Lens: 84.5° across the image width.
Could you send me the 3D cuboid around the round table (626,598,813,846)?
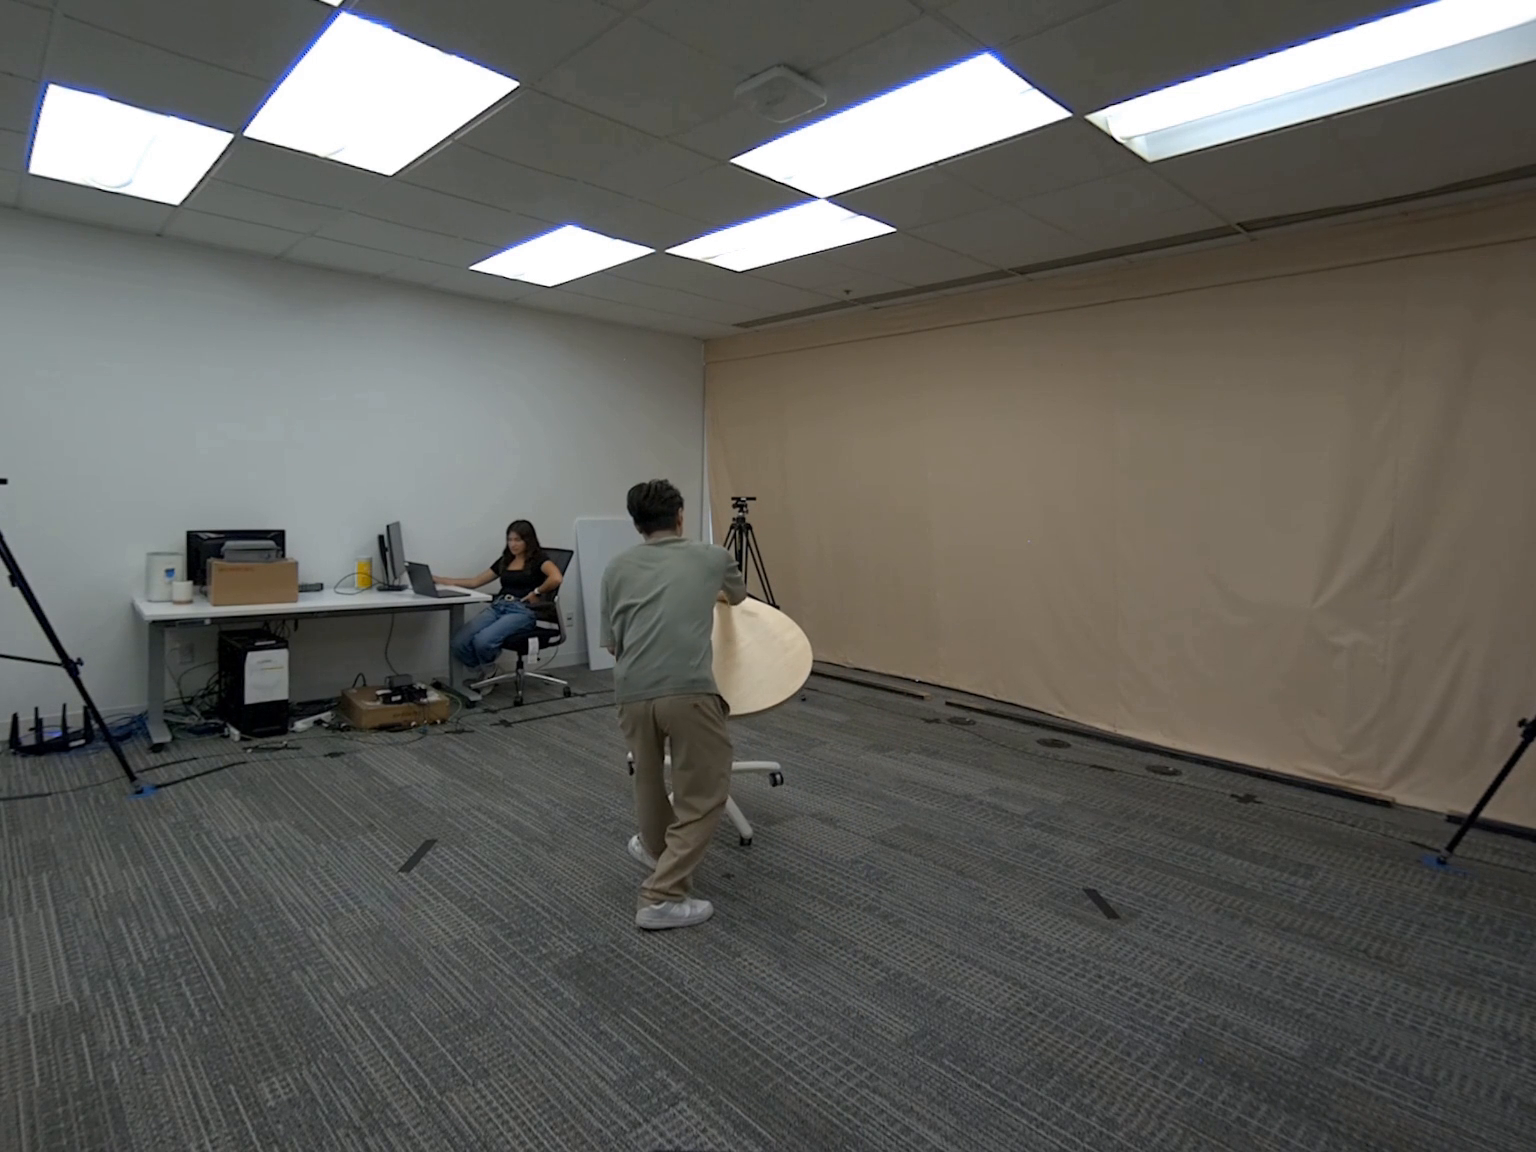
[{"bbox_3d":[-0.265,0.597,3.444,0.783,0.773,0.800,4,30,-3],"label":"round table"}]
